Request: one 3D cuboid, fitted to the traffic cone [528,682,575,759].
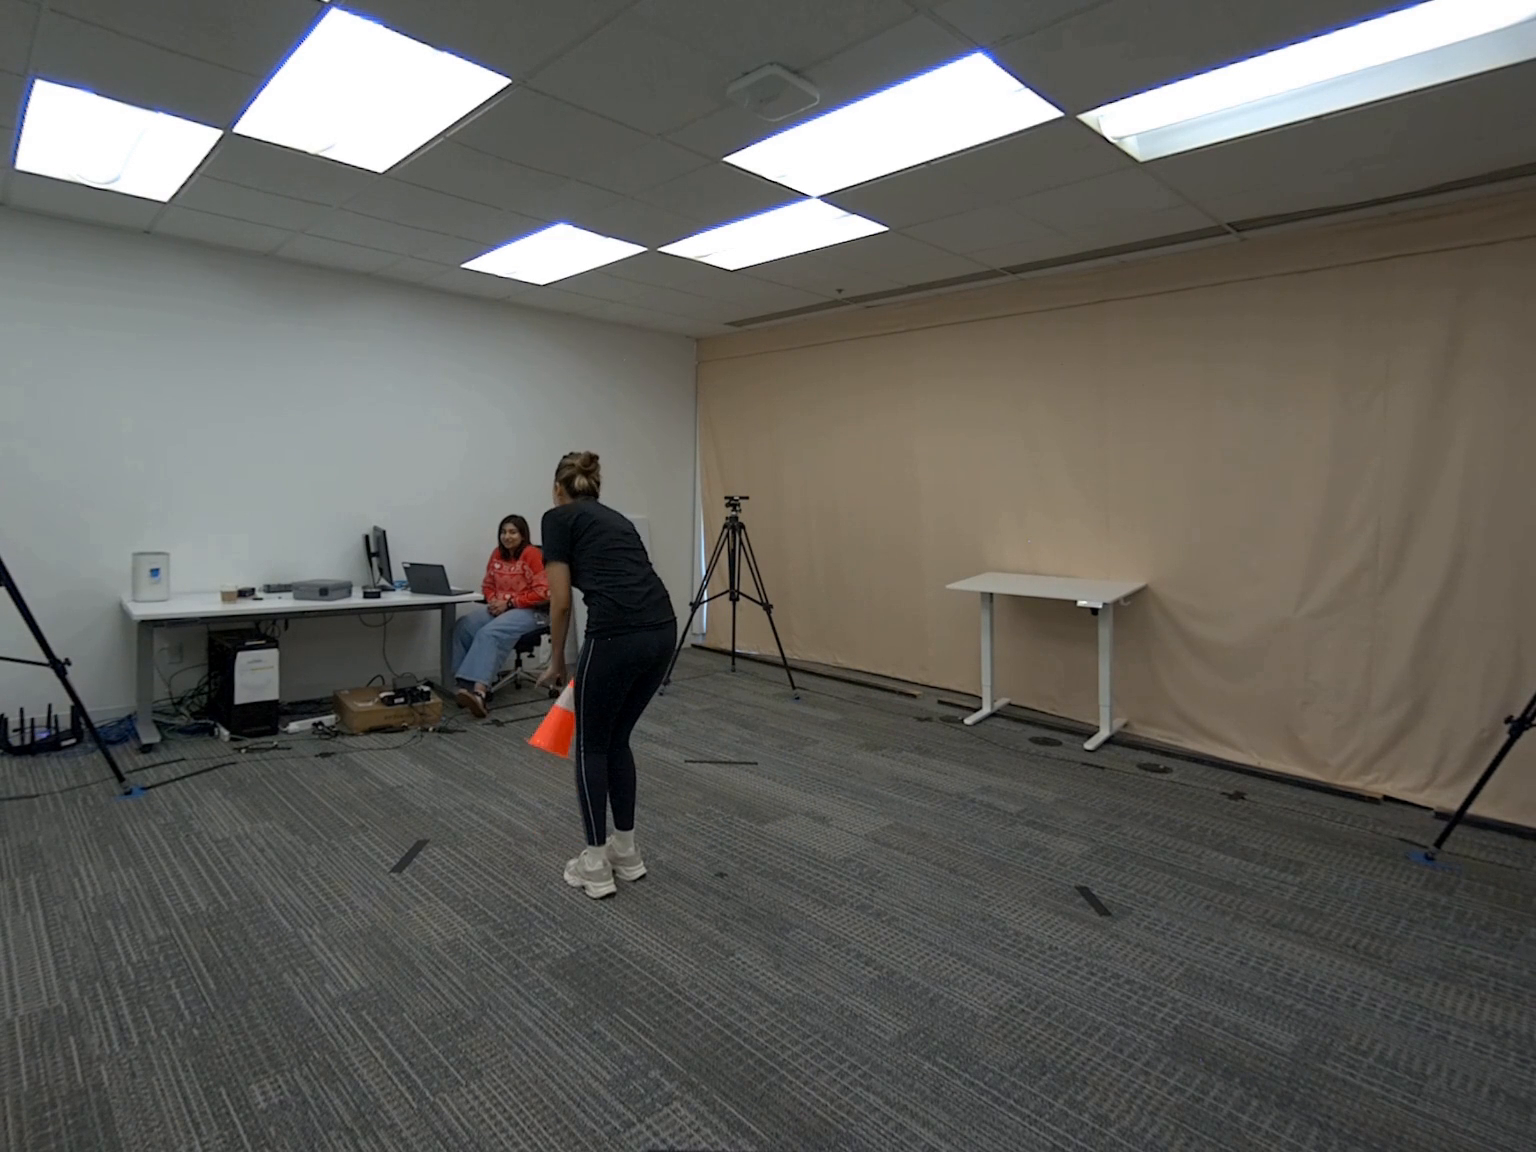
[{"bbox_3d":[-0.810,0.518,3.390,0.199,0.385,0.208,27,-12,-19],"label":"traffic cone"}]
